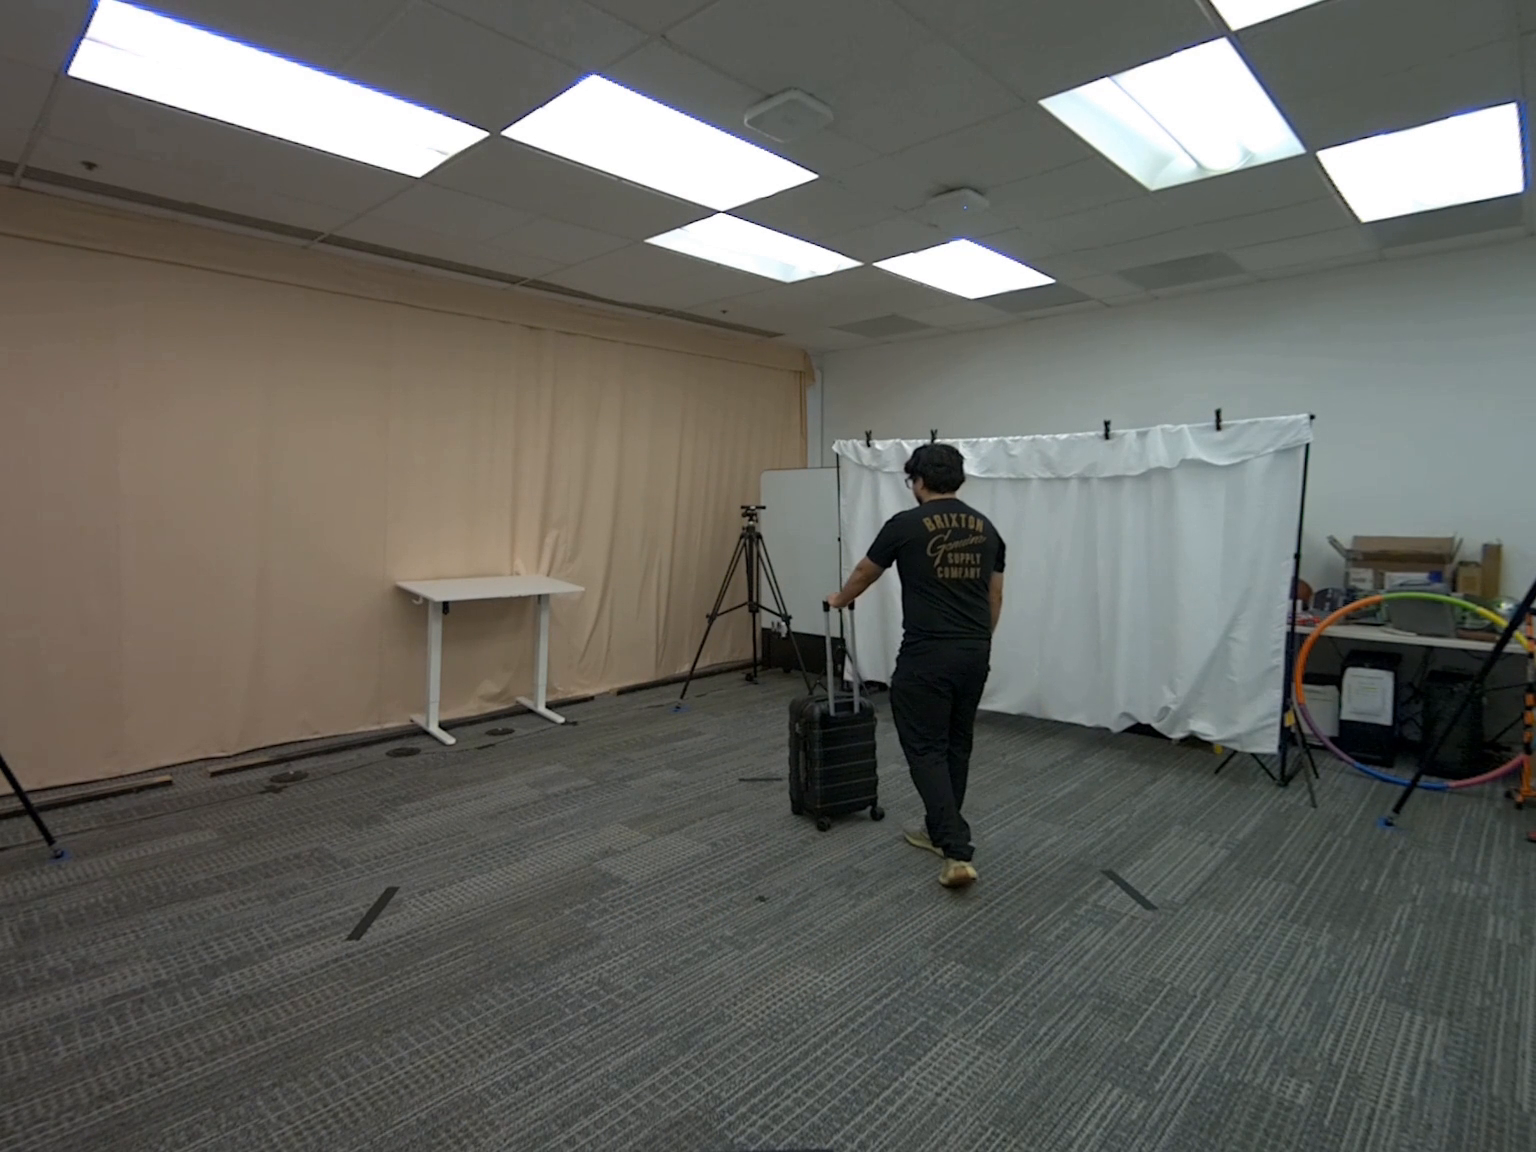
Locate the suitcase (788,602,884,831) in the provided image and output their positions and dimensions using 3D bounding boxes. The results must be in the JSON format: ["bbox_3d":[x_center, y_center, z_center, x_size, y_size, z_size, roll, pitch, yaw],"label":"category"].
[{"bbox_3d":[0.282,0.601,3.780,0.375,0.979,0.263,-3,-1,-24],"label":"suitcase"}]
